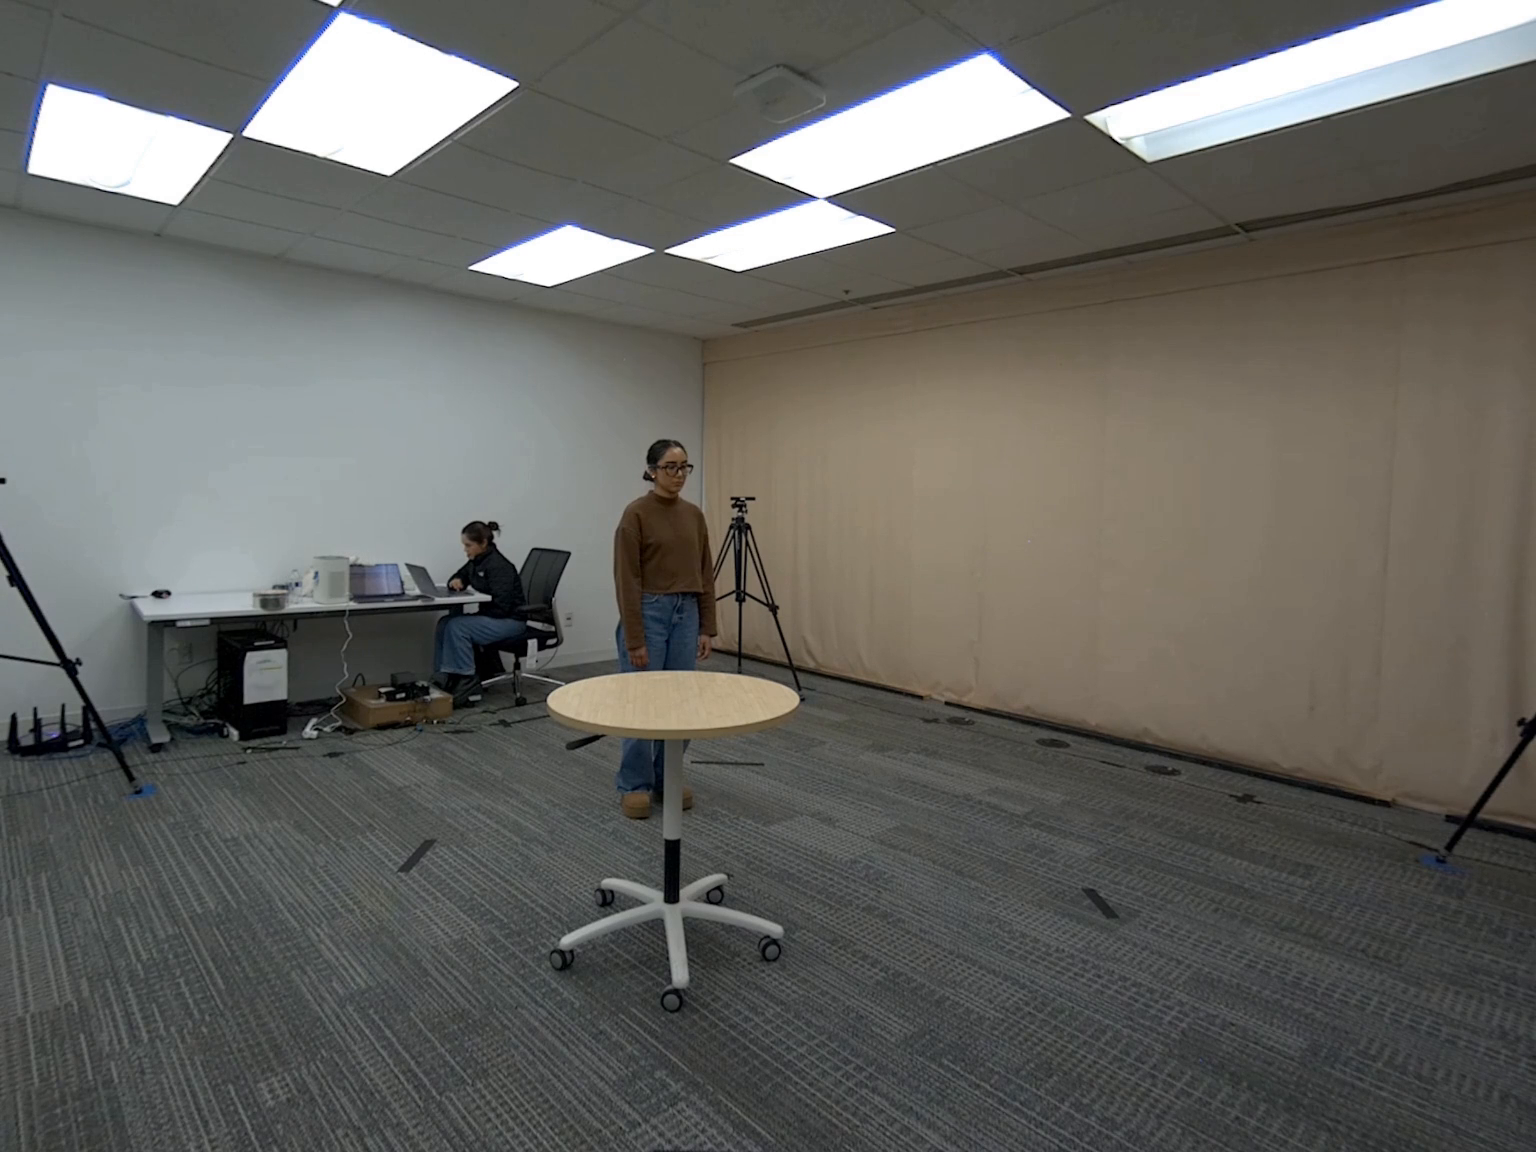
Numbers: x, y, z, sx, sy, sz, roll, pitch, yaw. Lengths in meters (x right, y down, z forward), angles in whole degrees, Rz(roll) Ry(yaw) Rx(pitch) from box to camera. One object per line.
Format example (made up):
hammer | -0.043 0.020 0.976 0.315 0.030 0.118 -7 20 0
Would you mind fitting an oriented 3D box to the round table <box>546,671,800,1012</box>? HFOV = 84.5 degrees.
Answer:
round table | -0.315 0.756 2.593 0.784 0.784 0.788 2 4 -1
